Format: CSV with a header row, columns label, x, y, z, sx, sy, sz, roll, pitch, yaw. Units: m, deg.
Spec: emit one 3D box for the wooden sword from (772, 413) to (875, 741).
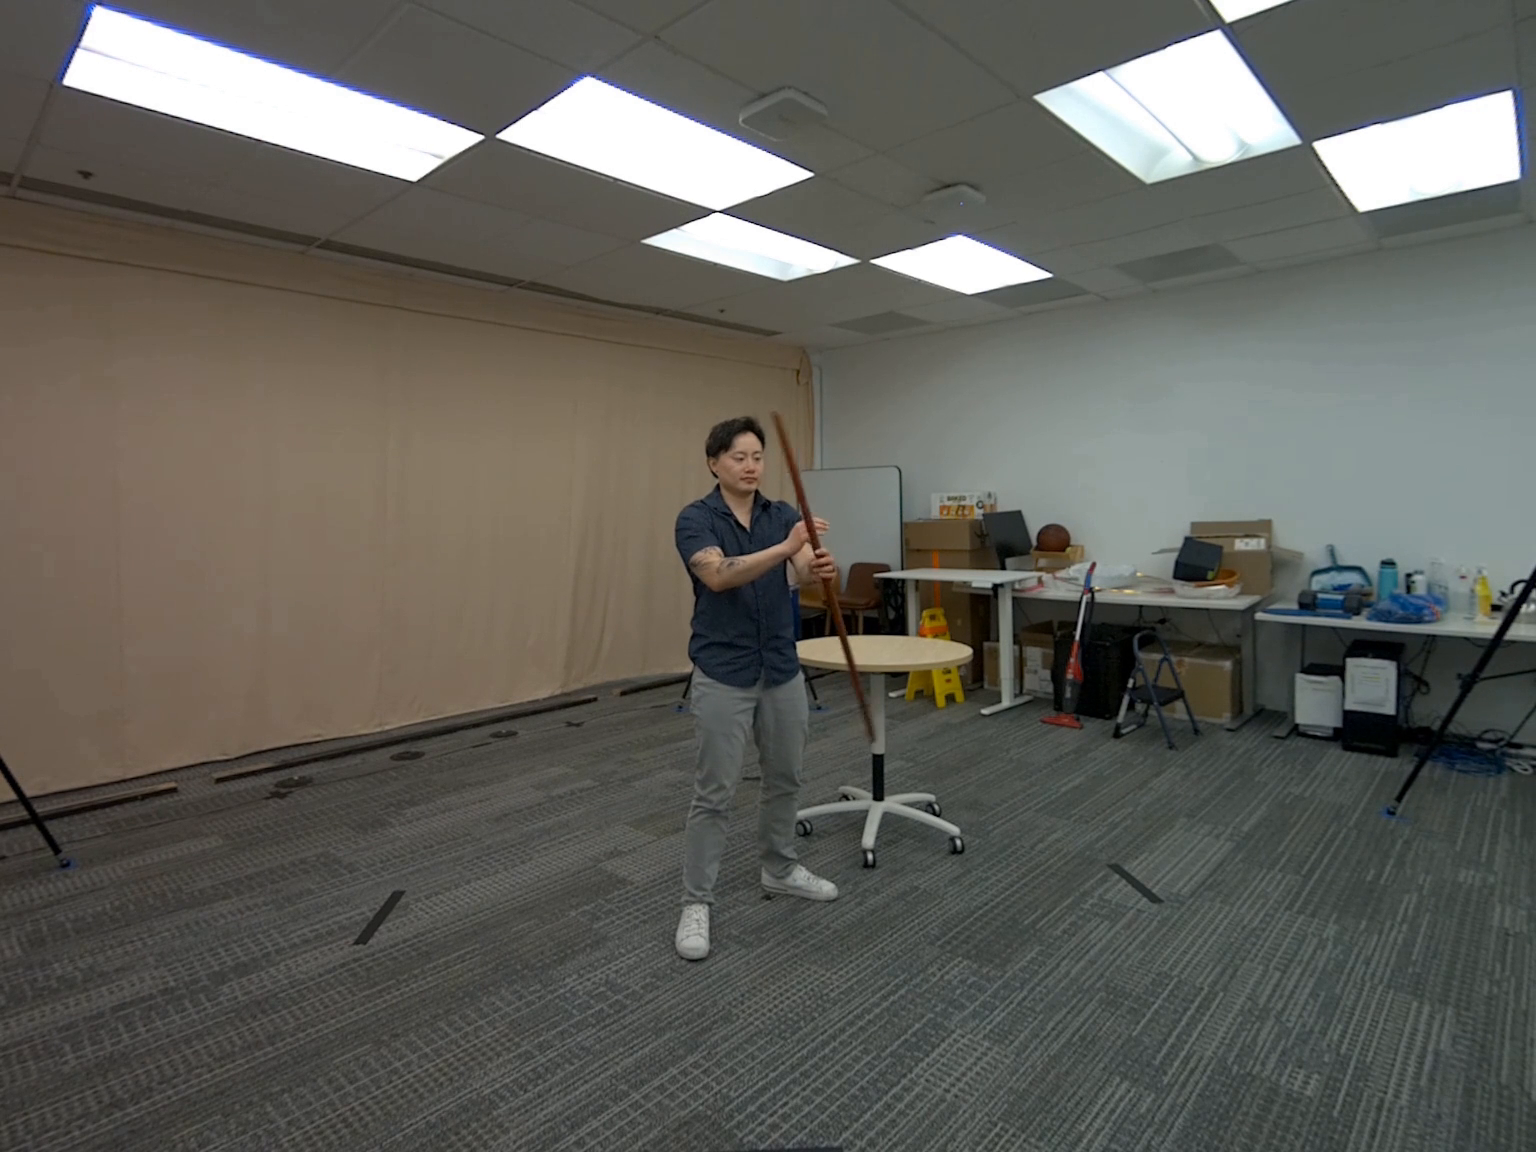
label,x,y,z,sx,sy,sz,roll,pitch,yaw
wooden sword,0.173,0.001,2.438,0.023,1.019,0.052,-19,6,-28
